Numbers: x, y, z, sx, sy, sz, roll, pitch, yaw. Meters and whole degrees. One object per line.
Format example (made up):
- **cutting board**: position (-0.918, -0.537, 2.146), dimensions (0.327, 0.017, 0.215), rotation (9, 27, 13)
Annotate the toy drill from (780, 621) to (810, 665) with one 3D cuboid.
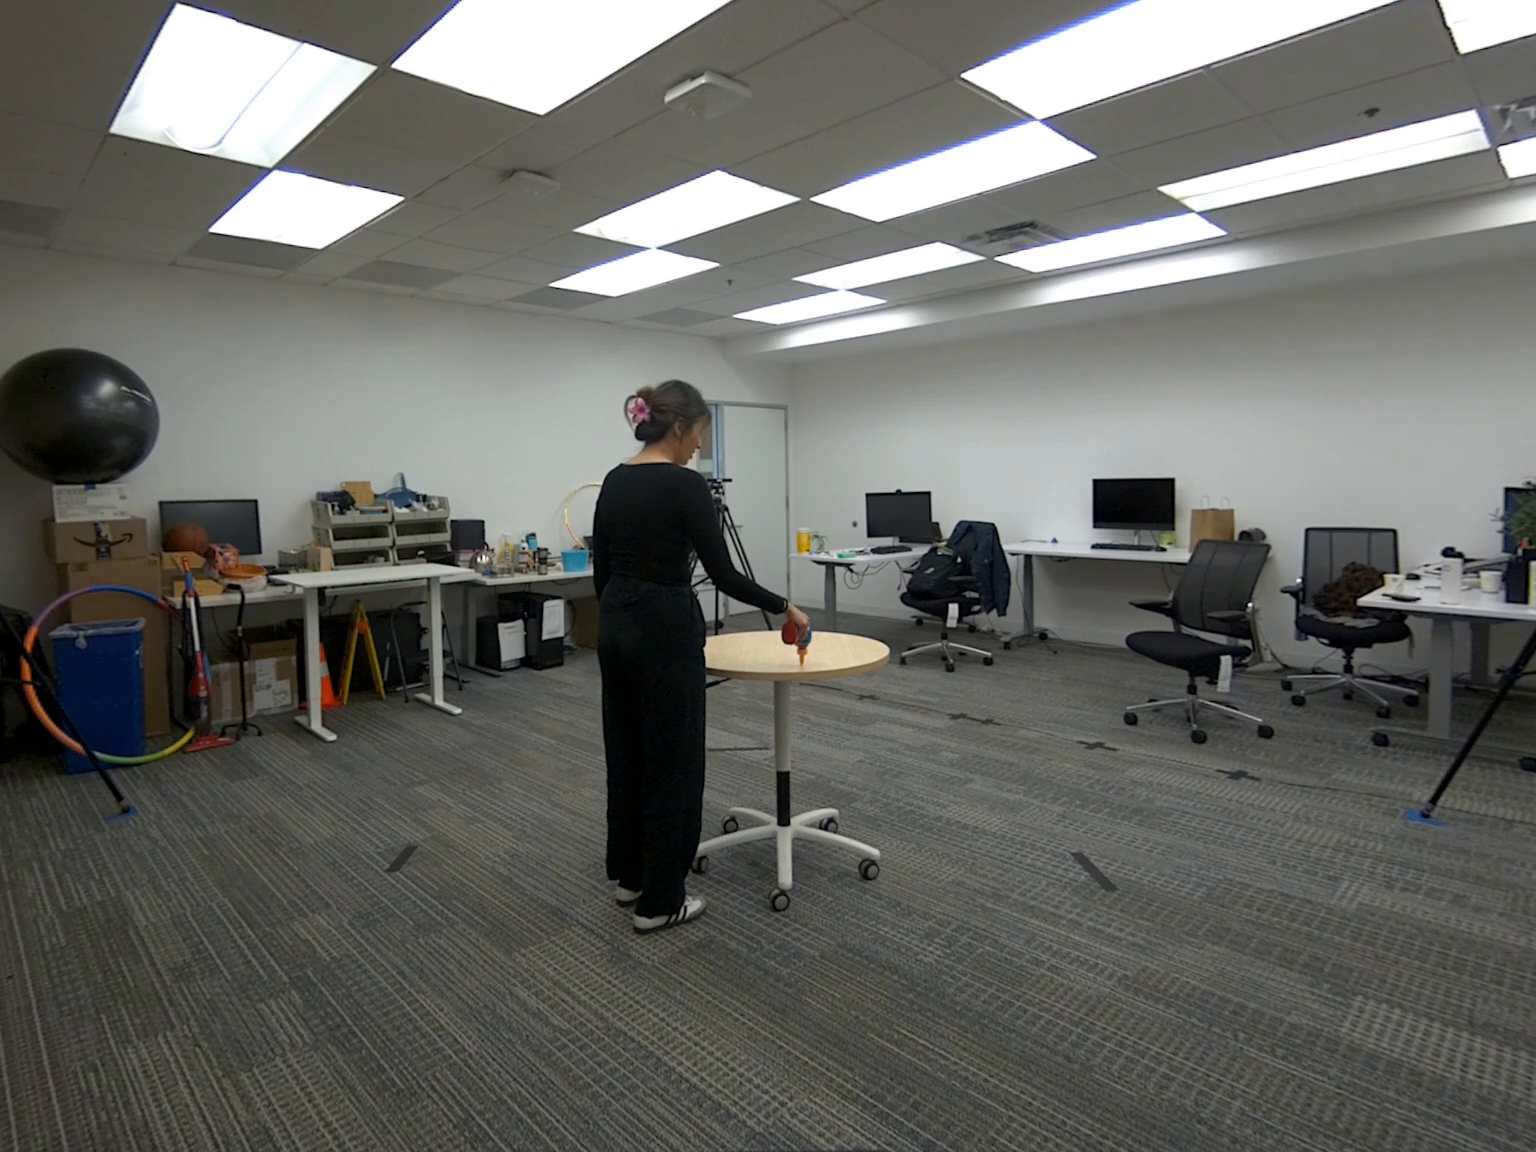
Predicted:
- **toy drill**: position (0.097, 0.206, 2.746), dimensions (0.062, 0.169, 0.143), rotation (8, 7, 21)
